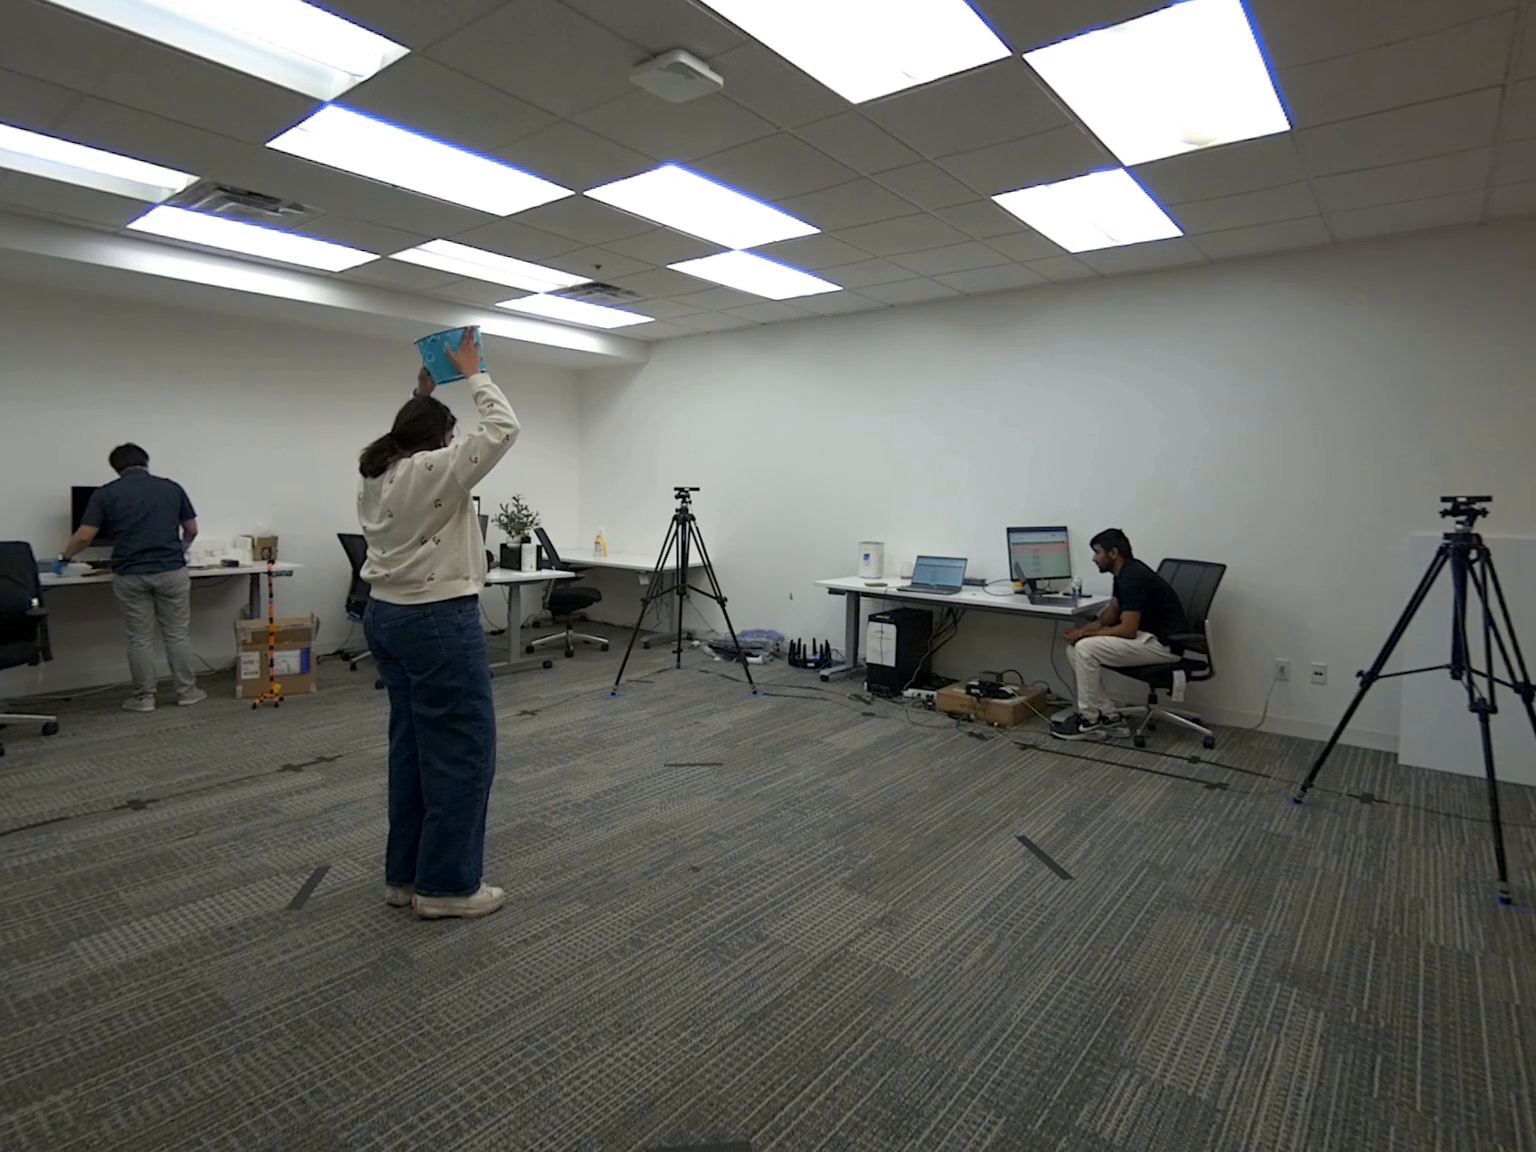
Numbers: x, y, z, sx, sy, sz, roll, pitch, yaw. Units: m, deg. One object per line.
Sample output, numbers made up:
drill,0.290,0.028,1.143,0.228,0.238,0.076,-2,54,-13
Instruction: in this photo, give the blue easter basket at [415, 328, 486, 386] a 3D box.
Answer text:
blue easter basket,-1.113,-0.761,2.946,0.244,0.154,0.247,-15,13,1
